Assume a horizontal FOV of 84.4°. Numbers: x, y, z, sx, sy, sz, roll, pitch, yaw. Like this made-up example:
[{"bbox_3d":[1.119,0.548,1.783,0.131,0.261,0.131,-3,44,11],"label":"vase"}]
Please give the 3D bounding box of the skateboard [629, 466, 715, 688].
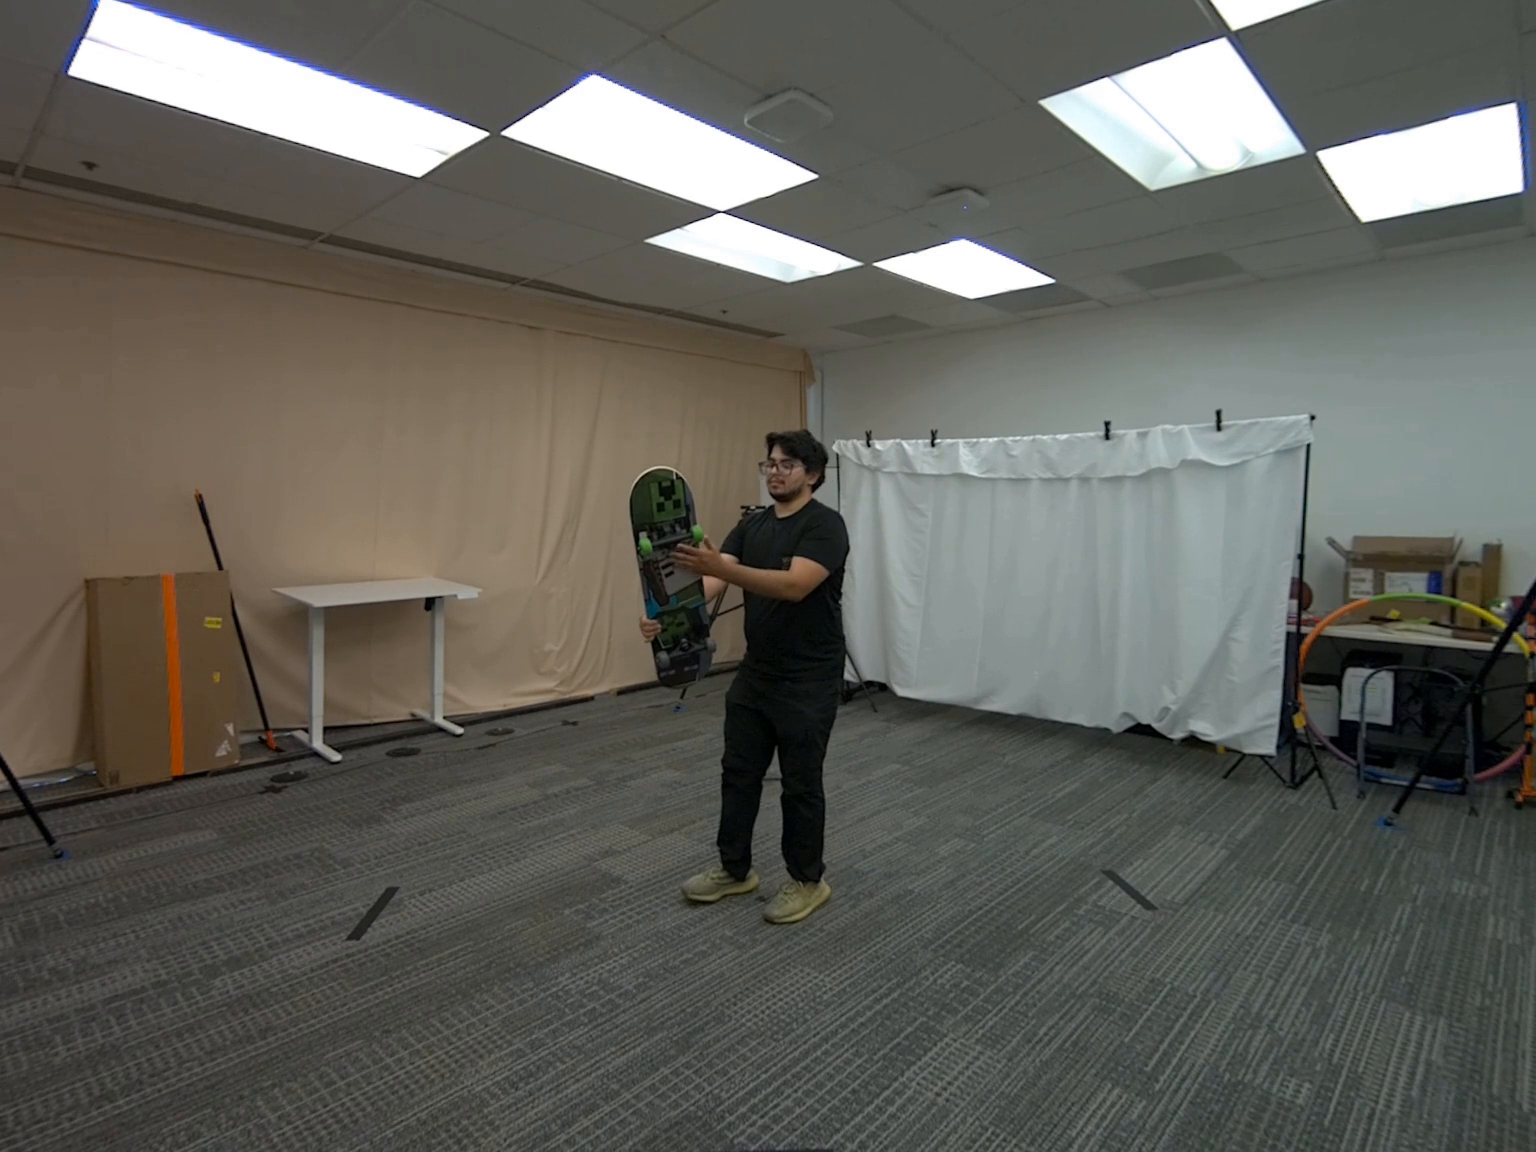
[{"bbox_3d":[-0.283,0.055,2.514,0.191,0.771,0.114,-13,31,-14],"label":"skateboard"}]
